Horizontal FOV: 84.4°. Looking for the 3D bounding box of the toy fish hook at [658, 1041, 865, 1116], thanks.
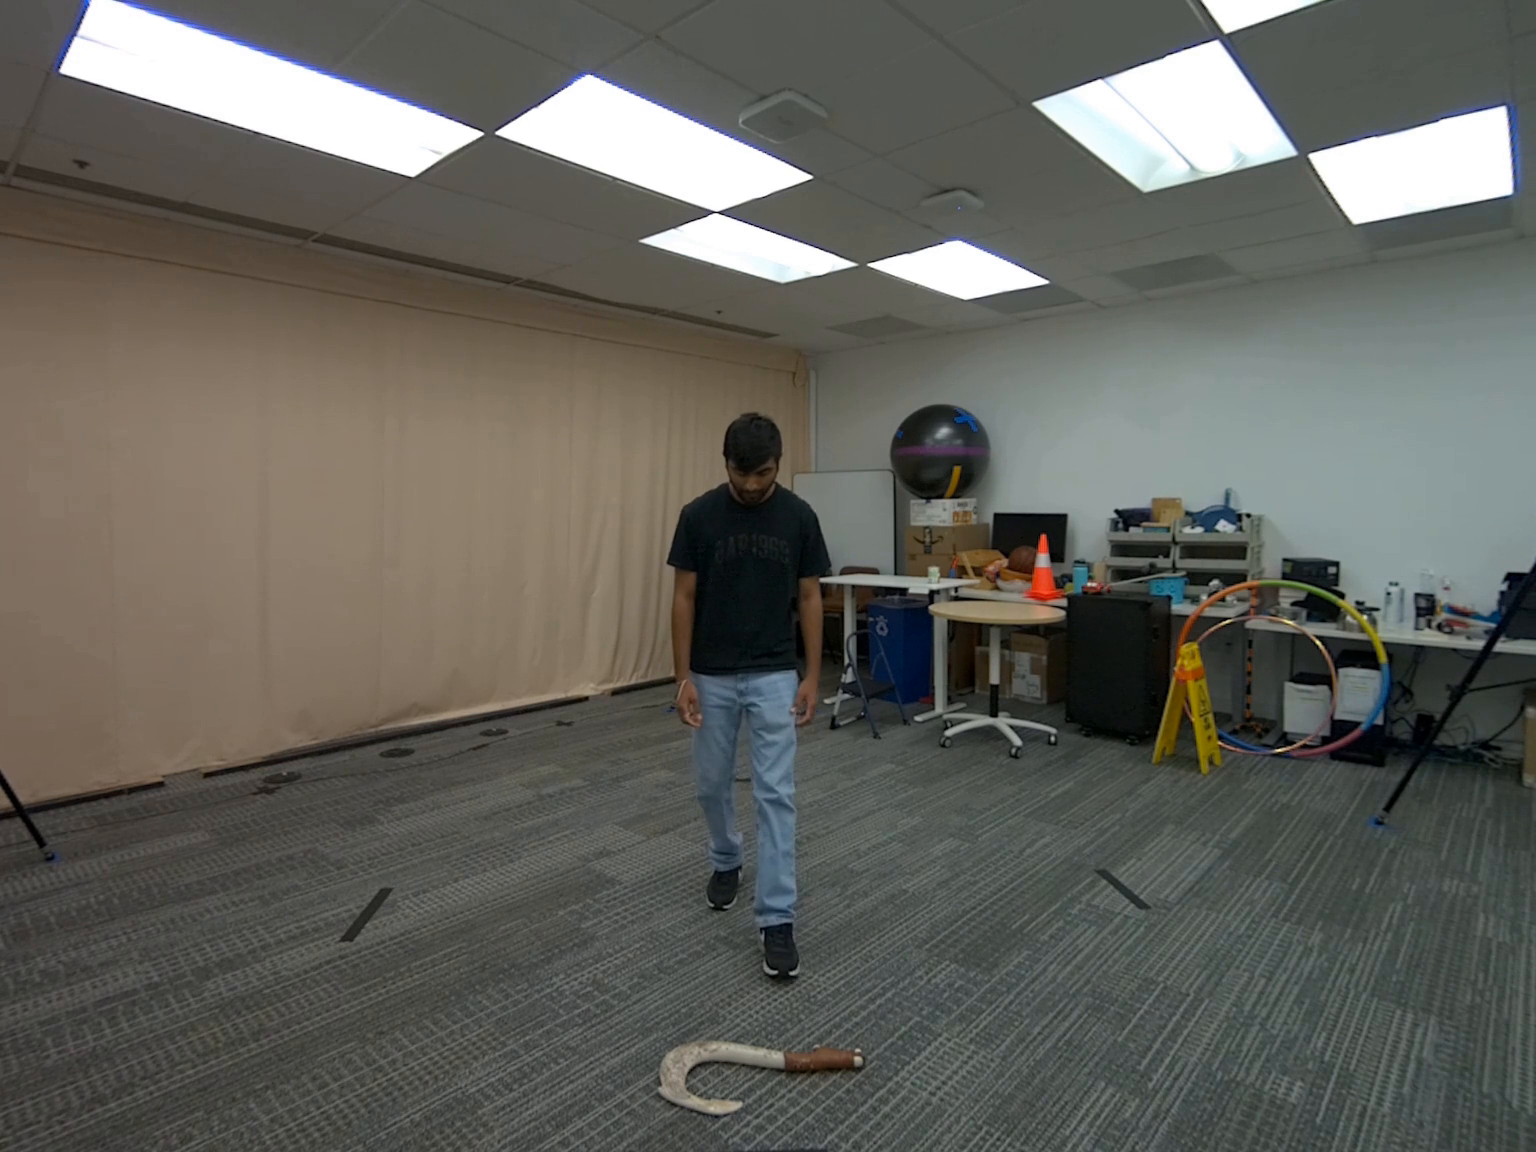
[{"bbox_3d":[0.002,1.210,2.028,0.506,0.048,0.227,-1,12,-2],"label":"toy fish hook"}]
